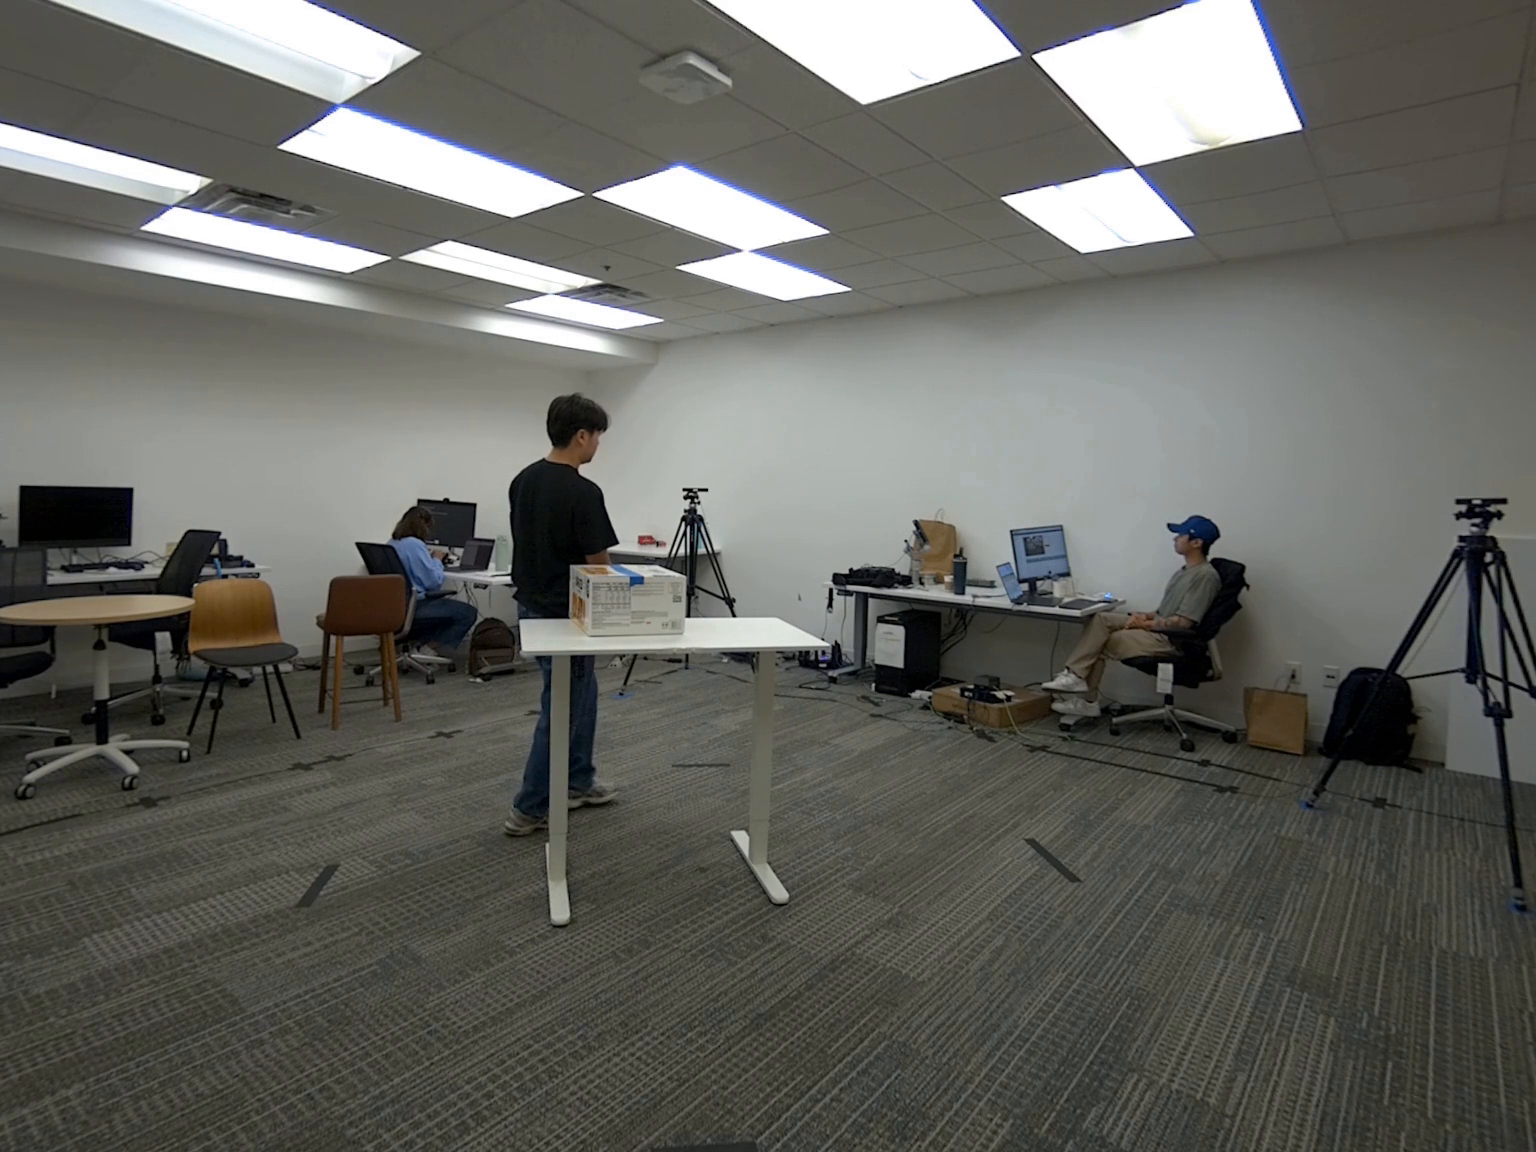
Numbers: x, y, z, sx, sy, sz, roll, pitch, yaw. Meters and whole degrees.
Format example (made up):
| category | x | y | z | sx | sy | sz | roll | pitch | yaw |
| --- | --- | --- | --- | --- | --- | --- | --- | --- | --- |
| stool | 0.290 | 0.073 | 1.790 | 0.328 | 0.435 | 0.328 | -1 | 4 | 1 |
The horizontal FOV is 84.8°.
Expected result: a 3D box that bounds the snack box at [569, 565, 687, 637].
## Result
| category | x | y | z | sx | sy | sz | roll | pitch | yaw |
| --- | --- | --- | --- | --- | --- | --- | --- | --- | --- |
| snack box | -0.531 | 0.079 | 3.086 | 0.333 | 0.205 | 0.415 | 0 | 6 | -21 |
